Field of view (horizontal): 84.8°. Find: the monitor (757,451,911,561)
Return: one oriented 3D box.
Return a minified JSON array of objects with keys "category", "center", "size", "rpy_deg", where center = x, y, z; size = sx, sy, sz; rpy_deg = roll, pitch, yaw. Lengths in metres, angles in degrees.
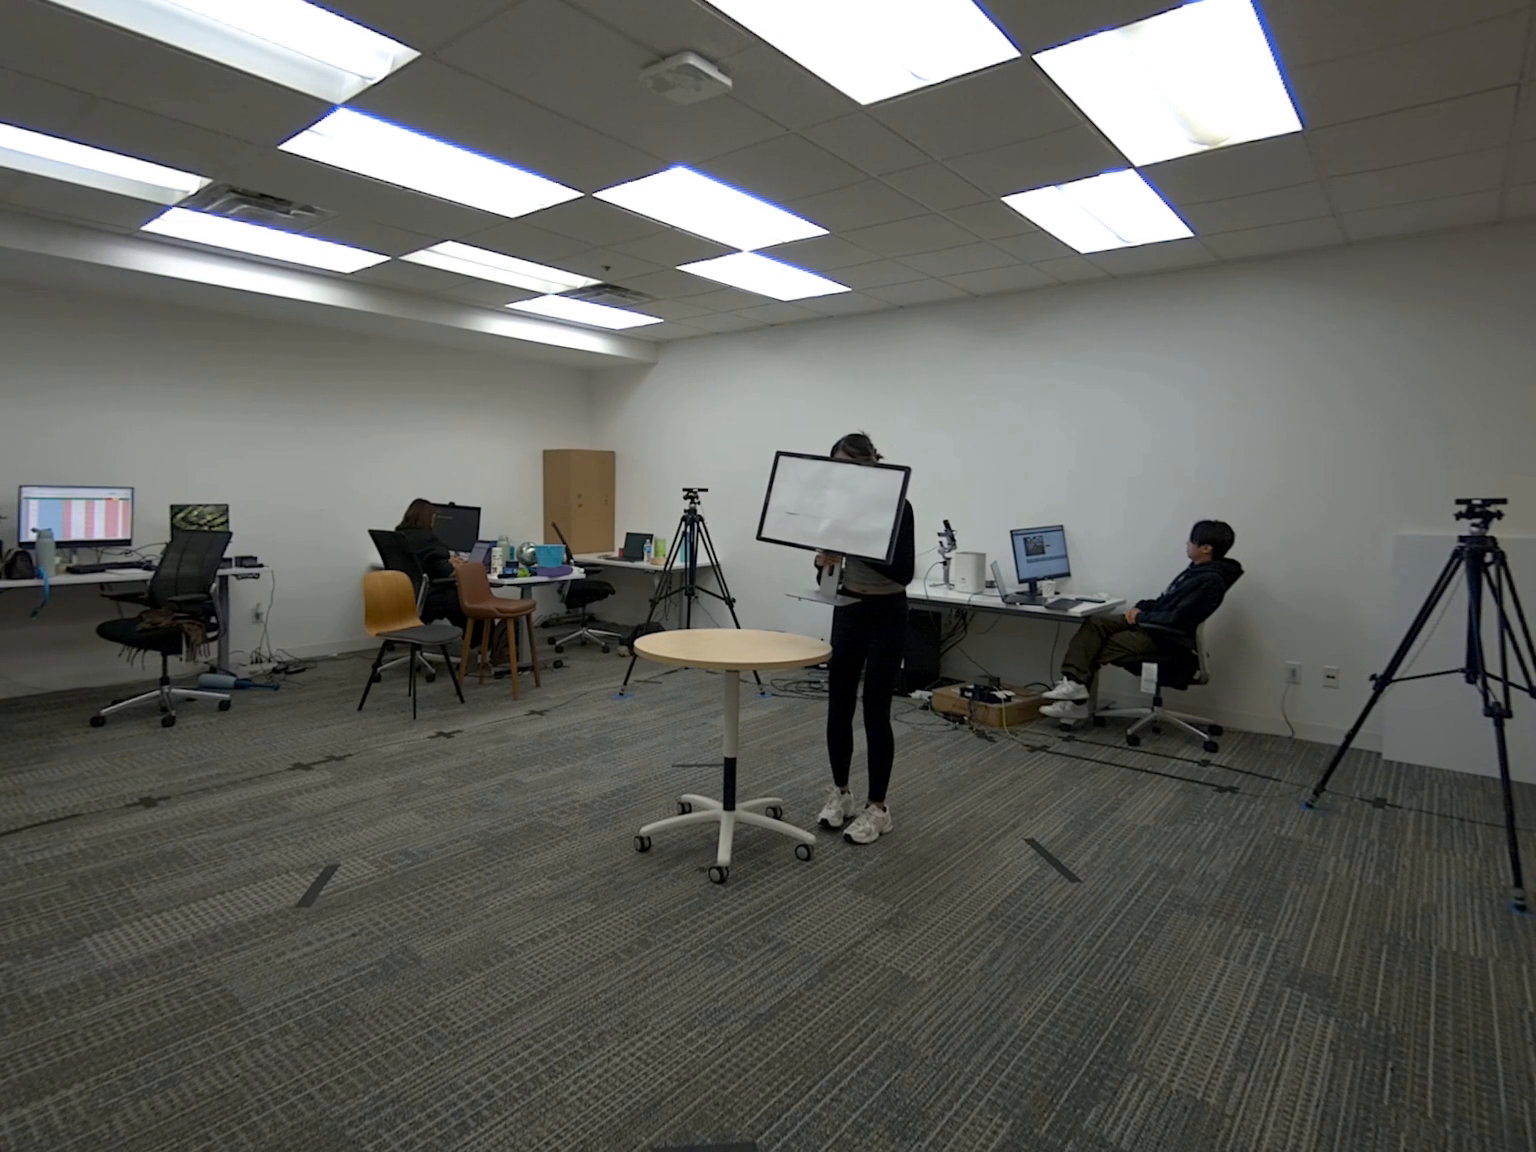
[{"category":"monitor","center":[0.232,-0.182,3.233],"size":[0.556,0.520,0.182],"rpy_deg":[10,7,30]}]
